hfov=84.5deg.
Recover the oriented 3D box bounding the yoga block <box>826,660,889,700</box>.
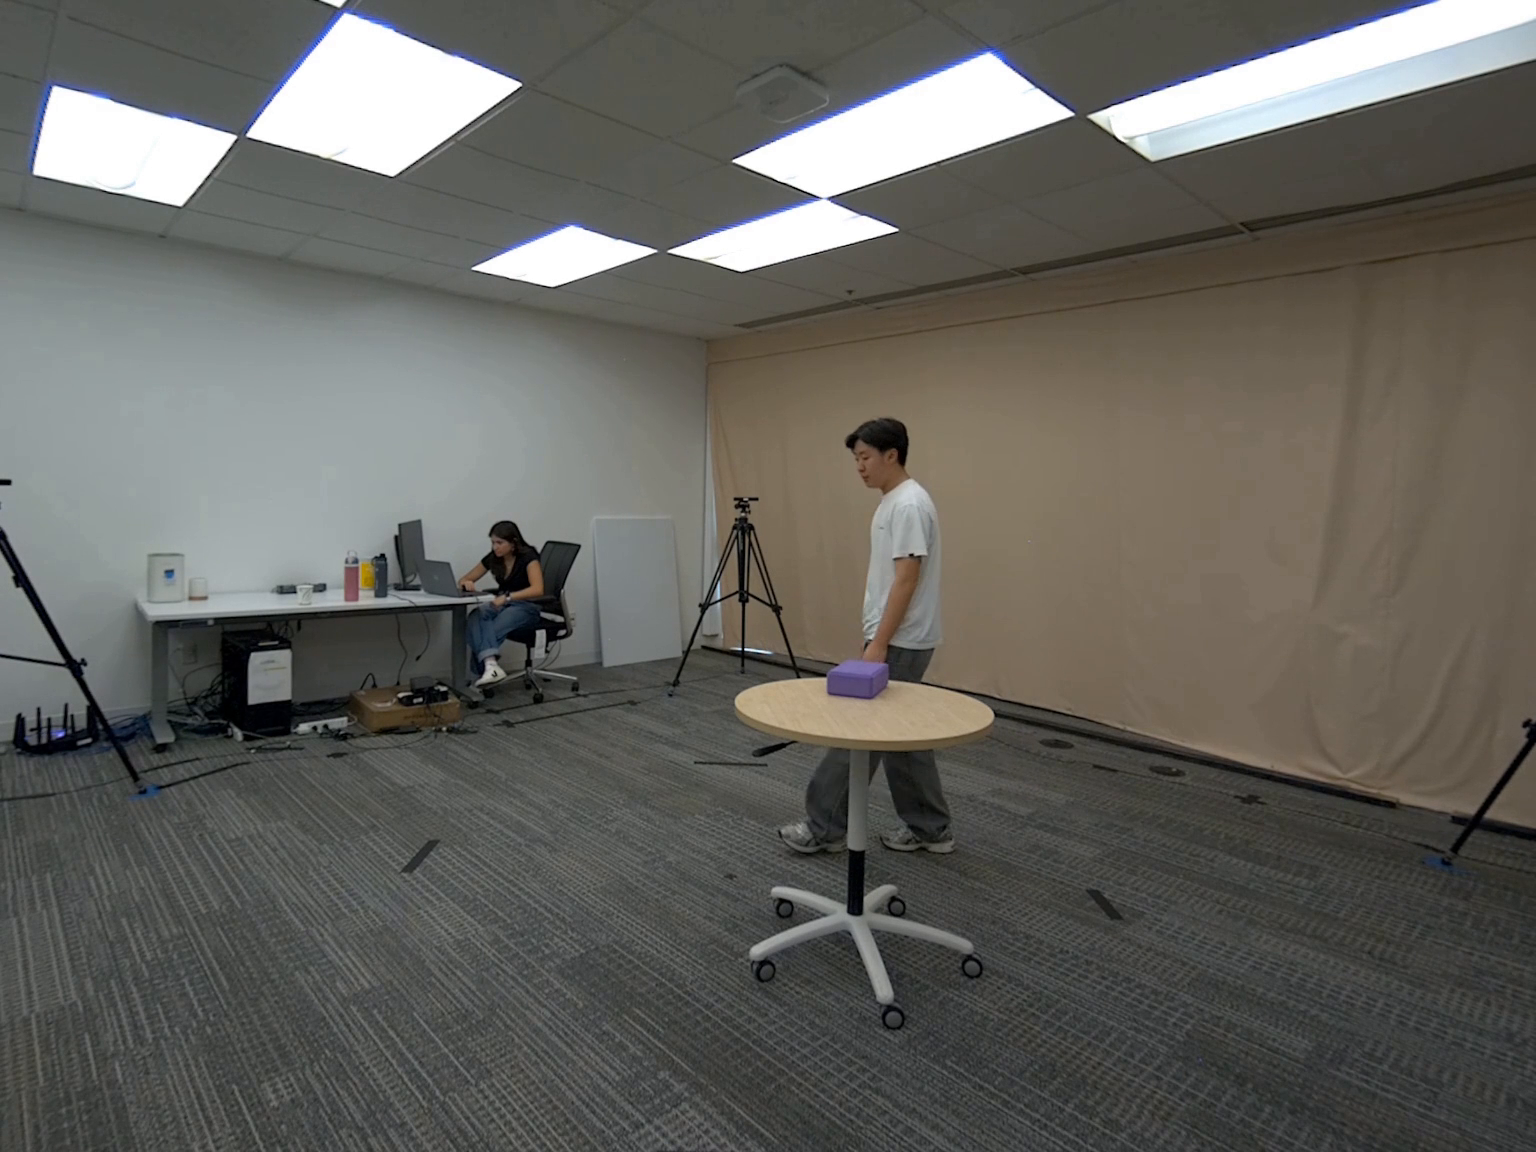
[{"bbox_3d":[0.290,0.335,2.713,0.151,0.076,0.226,3,6,21],"label":"yoga block"}]
